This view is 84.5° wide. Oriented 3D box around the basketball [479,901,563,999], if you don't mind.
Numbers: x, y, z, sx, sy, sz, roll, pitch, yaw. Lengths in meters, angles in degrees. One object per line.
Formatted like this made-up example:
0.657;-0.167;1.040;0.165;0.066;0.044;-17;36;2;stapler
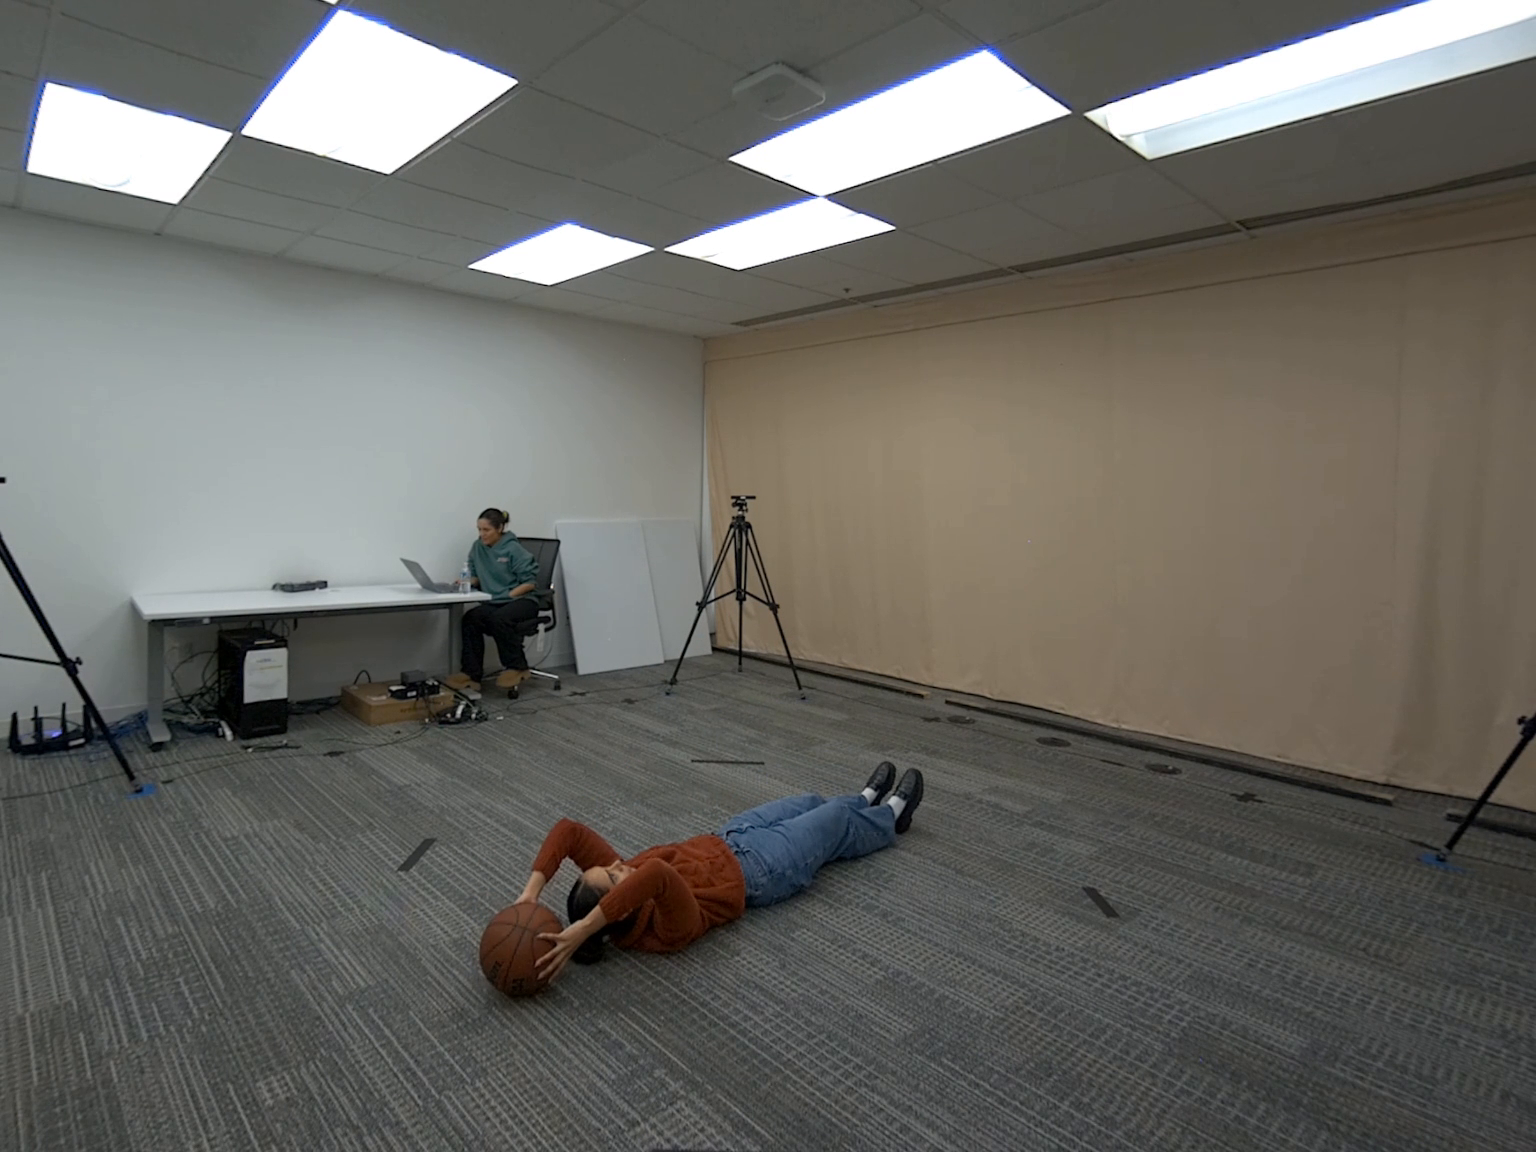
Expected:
-0.689;1.037;2.357;0.236;0.234;0.237;0;8;-1;basketball
